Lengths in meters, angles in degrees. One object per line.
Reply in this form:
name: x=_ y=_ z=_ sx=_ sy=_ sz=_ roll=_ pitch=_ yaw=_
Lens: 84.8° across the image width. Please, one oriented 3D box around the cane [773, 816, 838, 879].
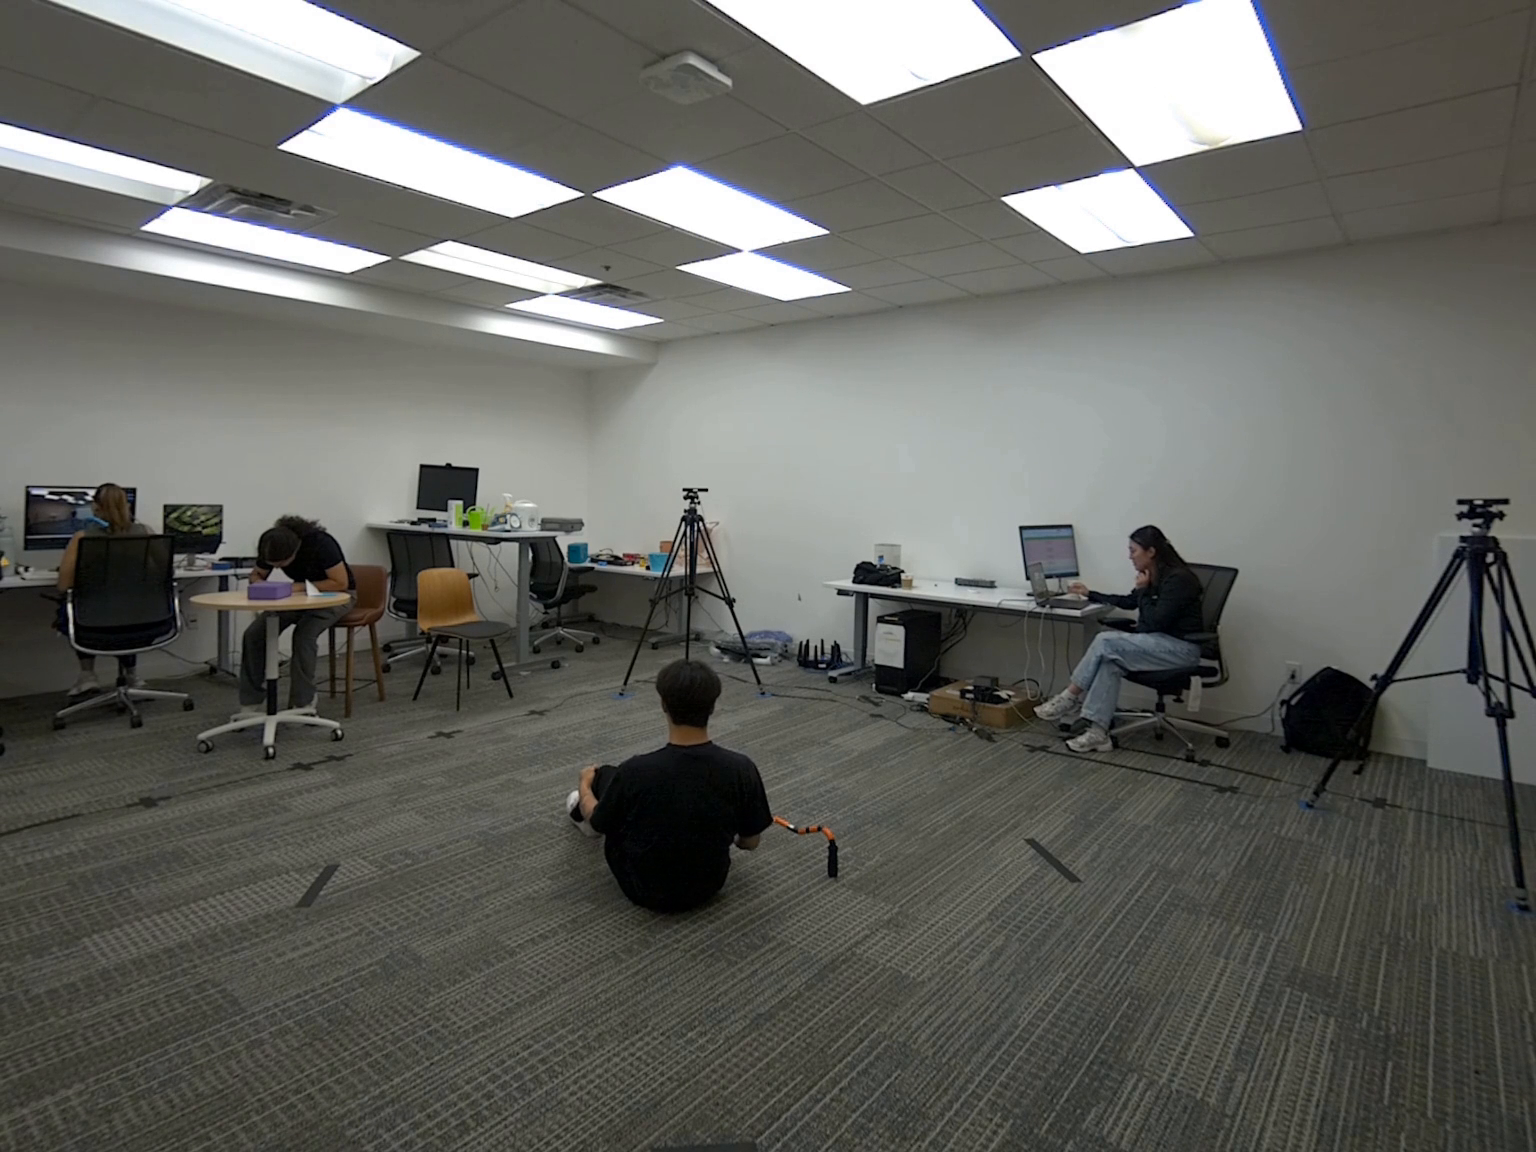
cane: x=-0.027 y=0.931 z=3.442 sx=0.147 sy=0.206 sz=0.938 roll=0 pitch=6 yaw=-36
